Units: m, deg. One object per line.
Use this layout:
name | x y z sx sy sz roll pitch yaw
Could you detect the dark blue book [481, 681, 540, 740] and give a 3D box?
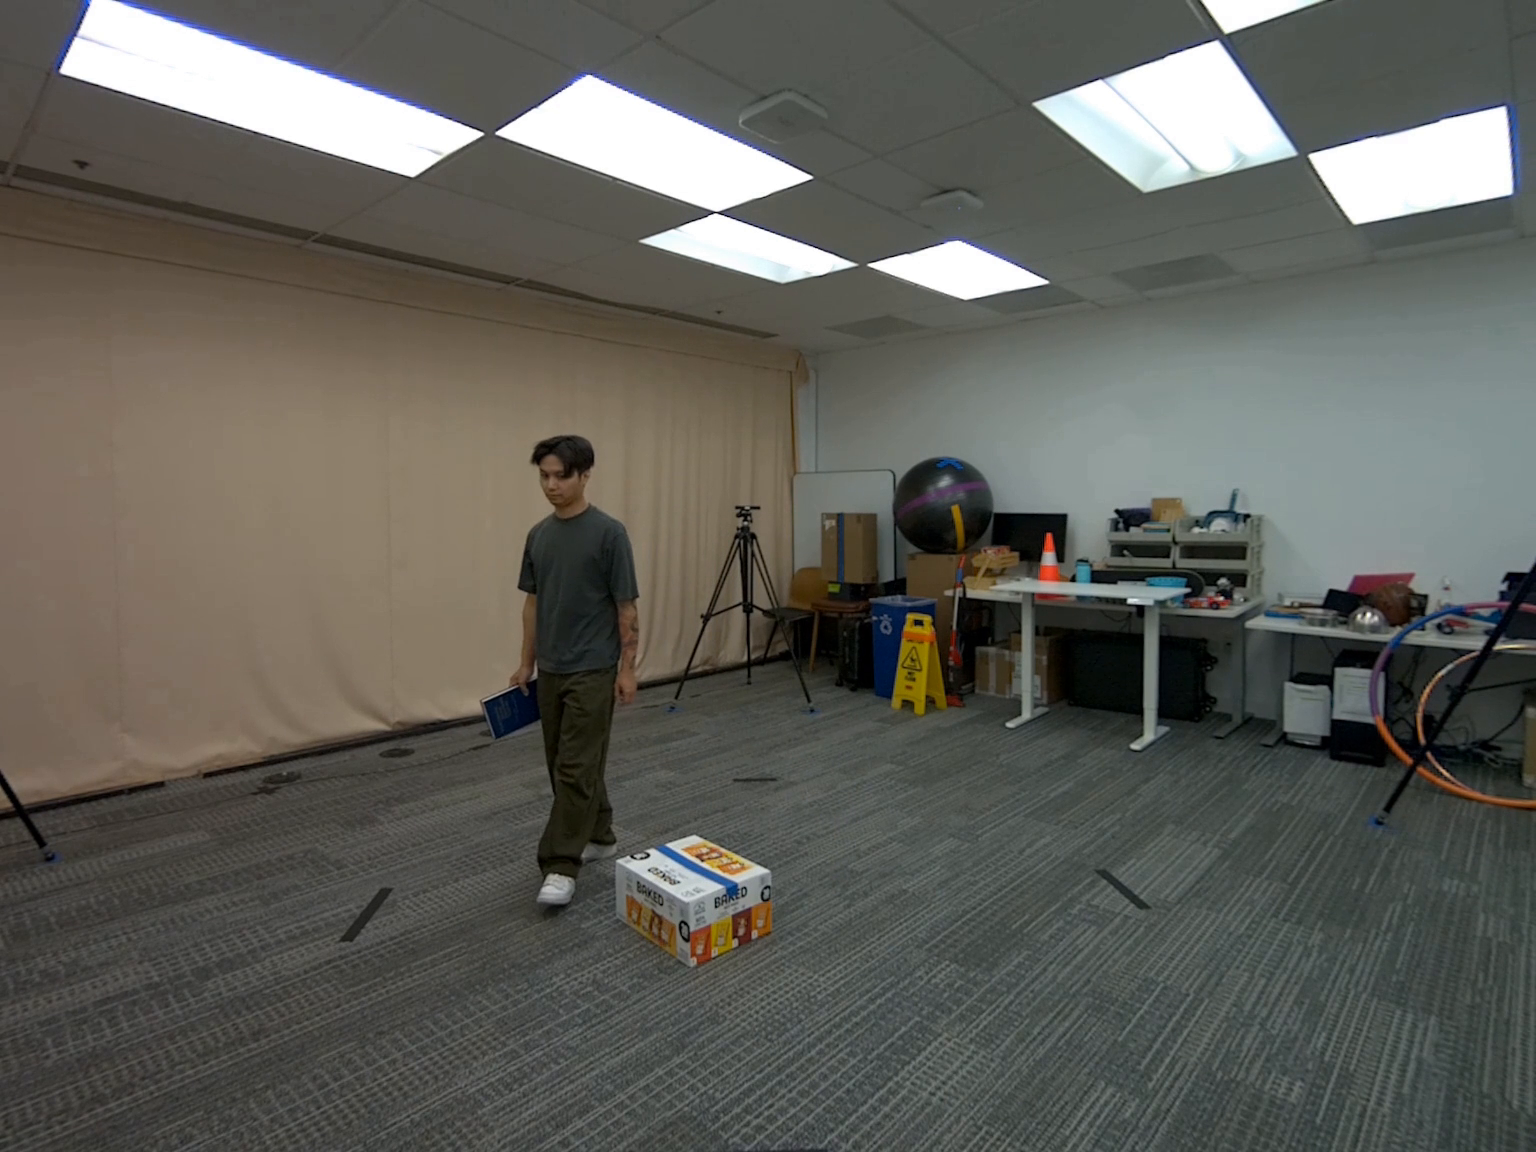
dark blue book | -0.990 0.520 3.317 0.240 0.162 0.046 -23 12 -32
